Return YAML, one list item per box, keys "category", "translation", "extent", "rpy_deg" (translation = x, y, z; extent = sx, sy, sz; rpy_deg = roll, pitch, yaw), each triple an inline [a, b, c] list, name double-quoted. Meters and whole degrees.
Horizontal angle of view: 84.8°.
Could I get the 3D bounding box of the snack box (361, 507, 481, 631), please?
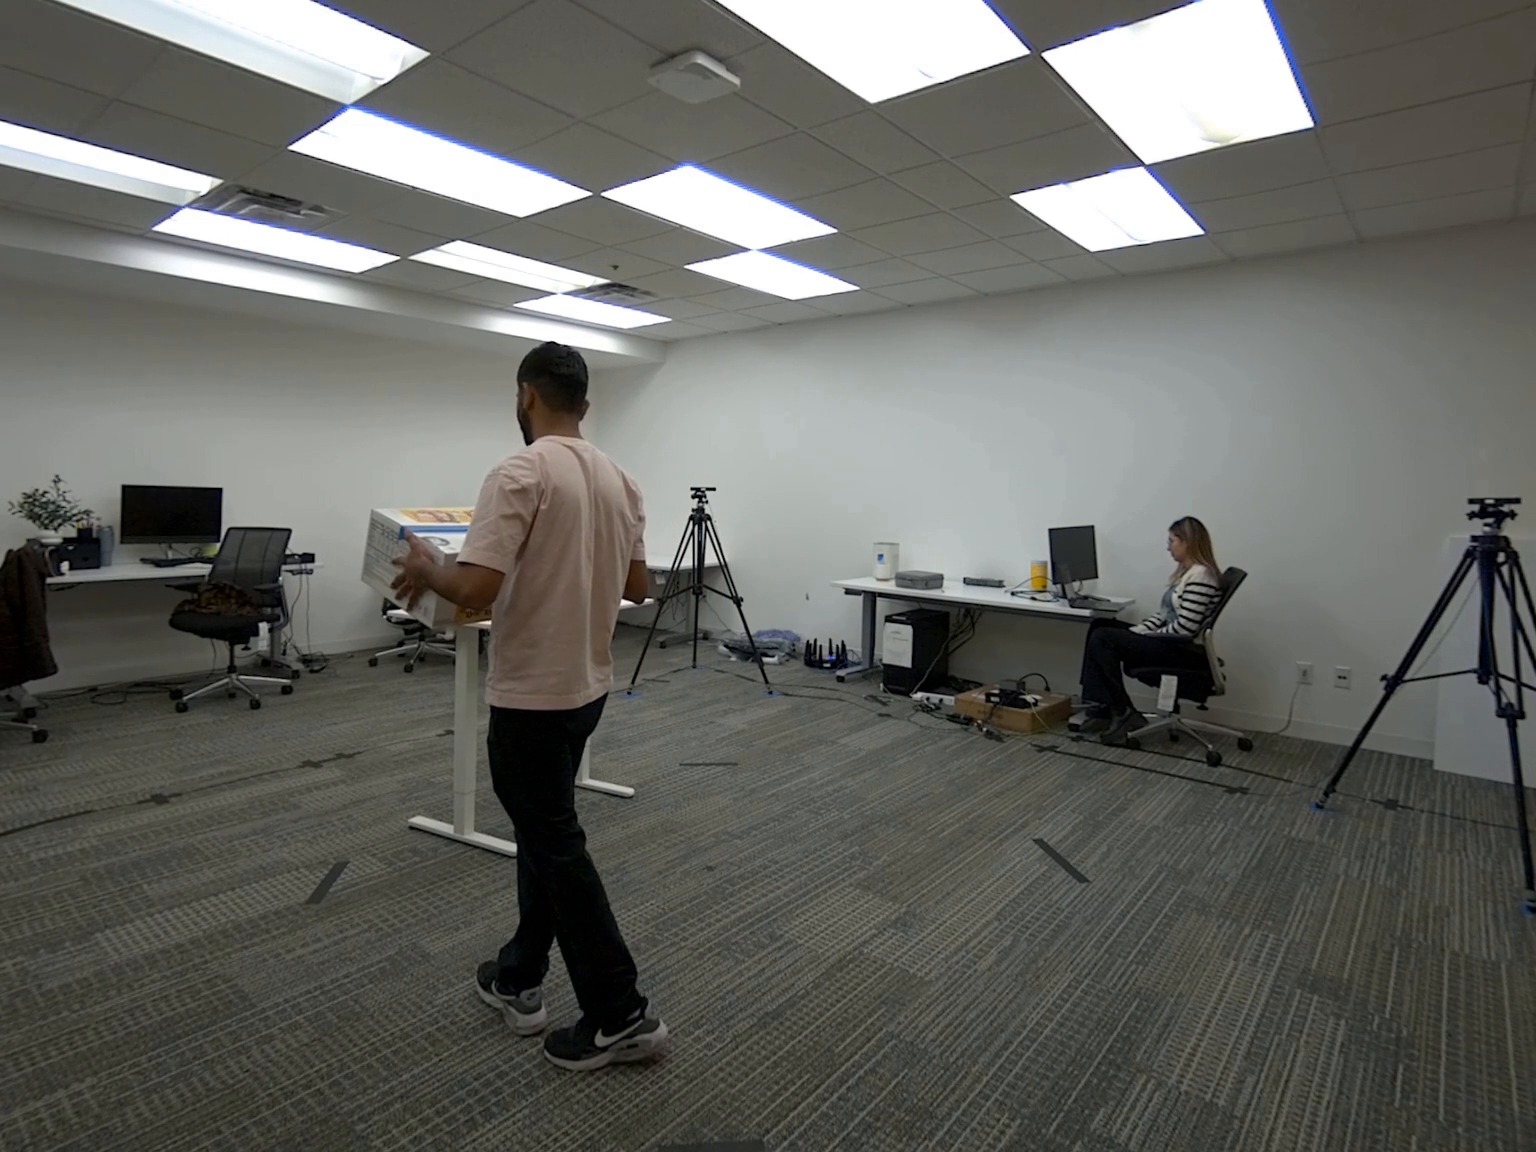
- category: "snack box"
  translation: [-0.821, -0.037, 2.302]
  extent: [0.353, 0.204, 0.394]
  rpy_deg: [23, 18, 32]
